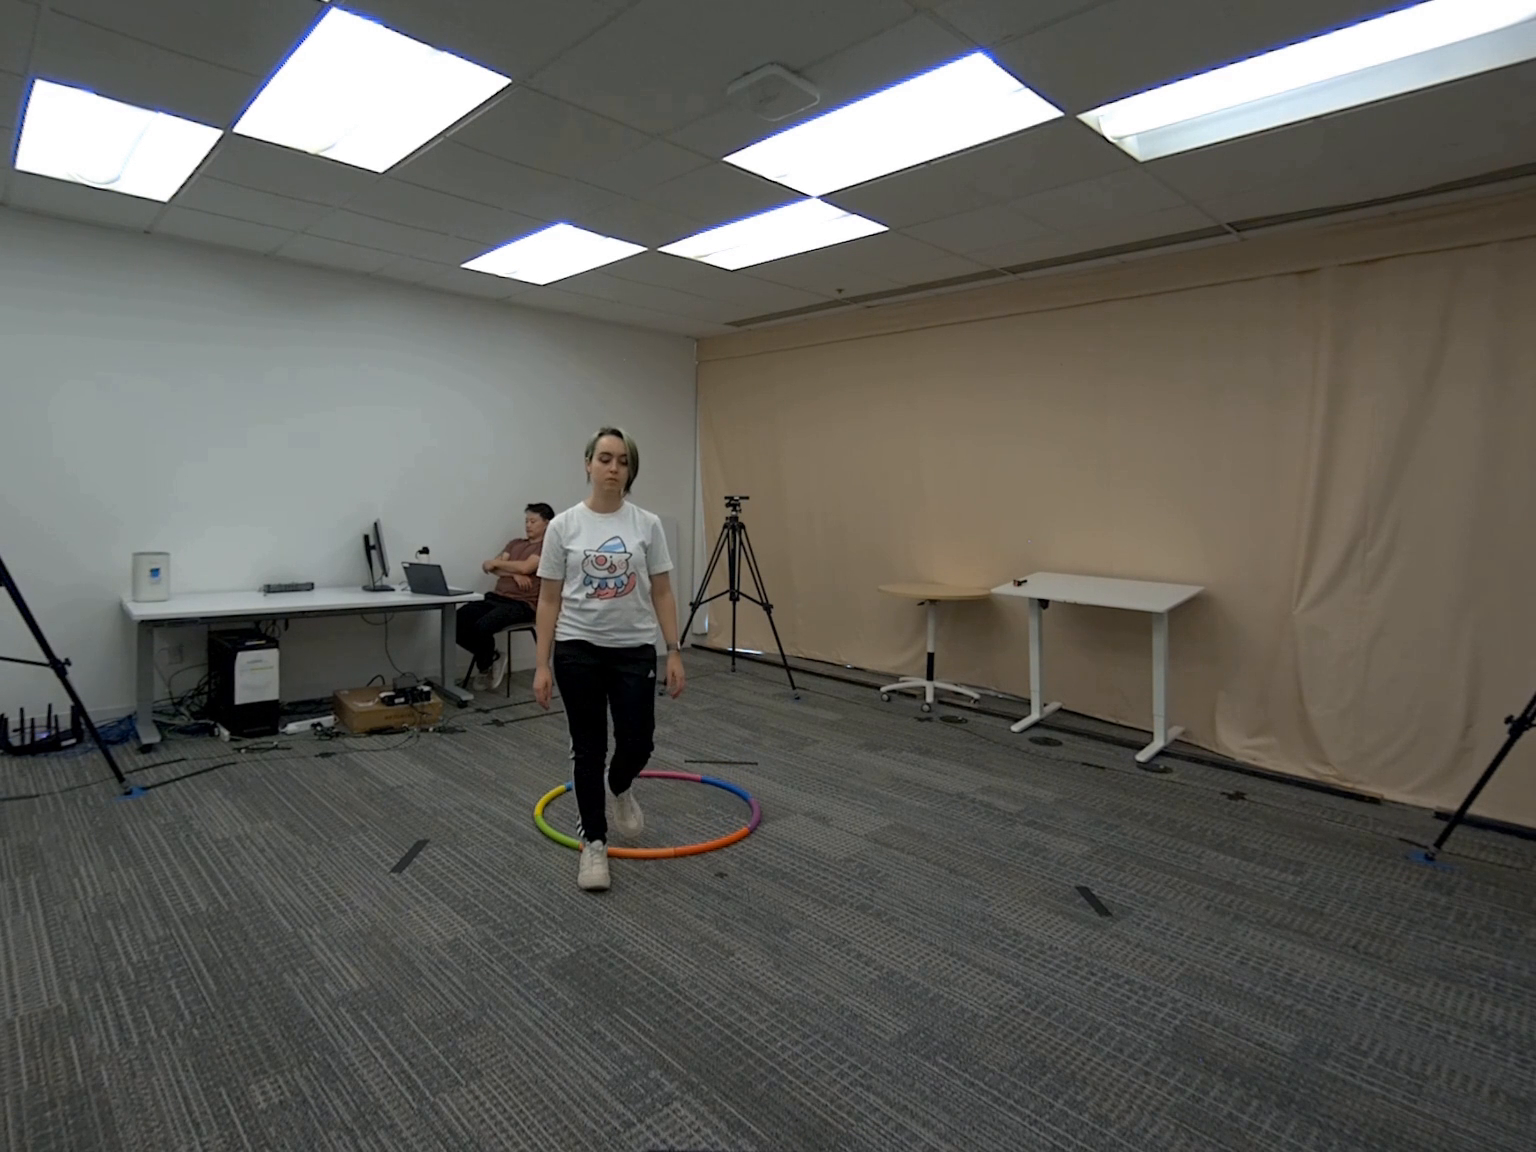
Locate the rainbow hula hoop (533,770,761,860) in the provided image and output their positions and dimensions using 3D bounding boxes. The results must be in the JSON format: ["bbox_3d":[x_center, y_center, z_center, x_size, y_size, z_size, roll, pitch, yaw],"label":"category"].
[{"bbox_3d":[-0.530,1.016,3.704,0.985,0.051,0.989,2,5,-1],"label":"rainbow hula hoop"}]
